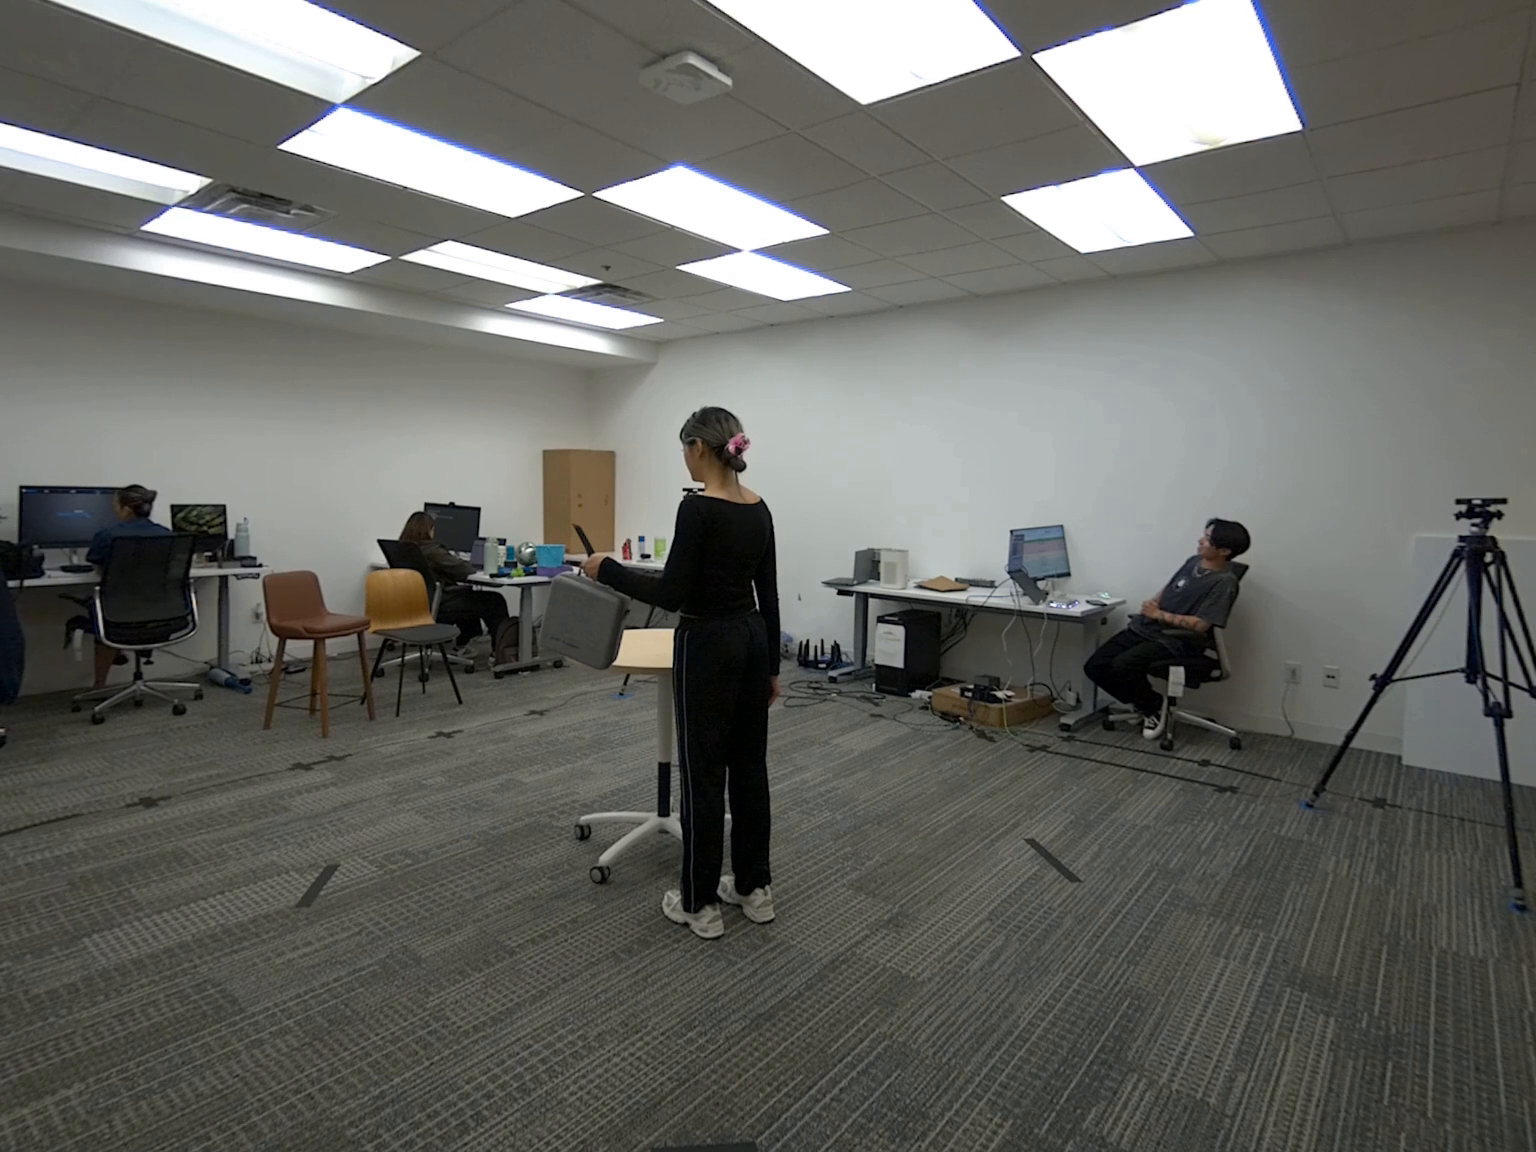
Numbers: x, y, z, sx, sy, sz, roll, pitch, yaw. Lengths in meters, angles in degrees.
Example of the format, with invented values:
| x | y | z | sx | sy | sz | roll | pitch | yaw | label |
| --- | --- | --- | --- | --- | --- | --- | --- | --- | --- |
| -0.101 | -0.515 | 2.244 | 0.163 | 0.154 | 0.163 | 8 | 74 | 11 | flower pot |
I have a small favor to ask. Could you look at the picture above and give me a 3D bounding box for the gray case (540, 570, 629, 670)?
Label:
| x | y | z | sx | sy | sz | roll | pitch | yaw | label |
| --- | --- | --- | --- | --- | --- | --- | --- | --- | --- |
| -0.594 | 0.130 | 2.691 | 0.262 | 0.258 | 0.103 | 20 | 14 | 15 | gray case |
